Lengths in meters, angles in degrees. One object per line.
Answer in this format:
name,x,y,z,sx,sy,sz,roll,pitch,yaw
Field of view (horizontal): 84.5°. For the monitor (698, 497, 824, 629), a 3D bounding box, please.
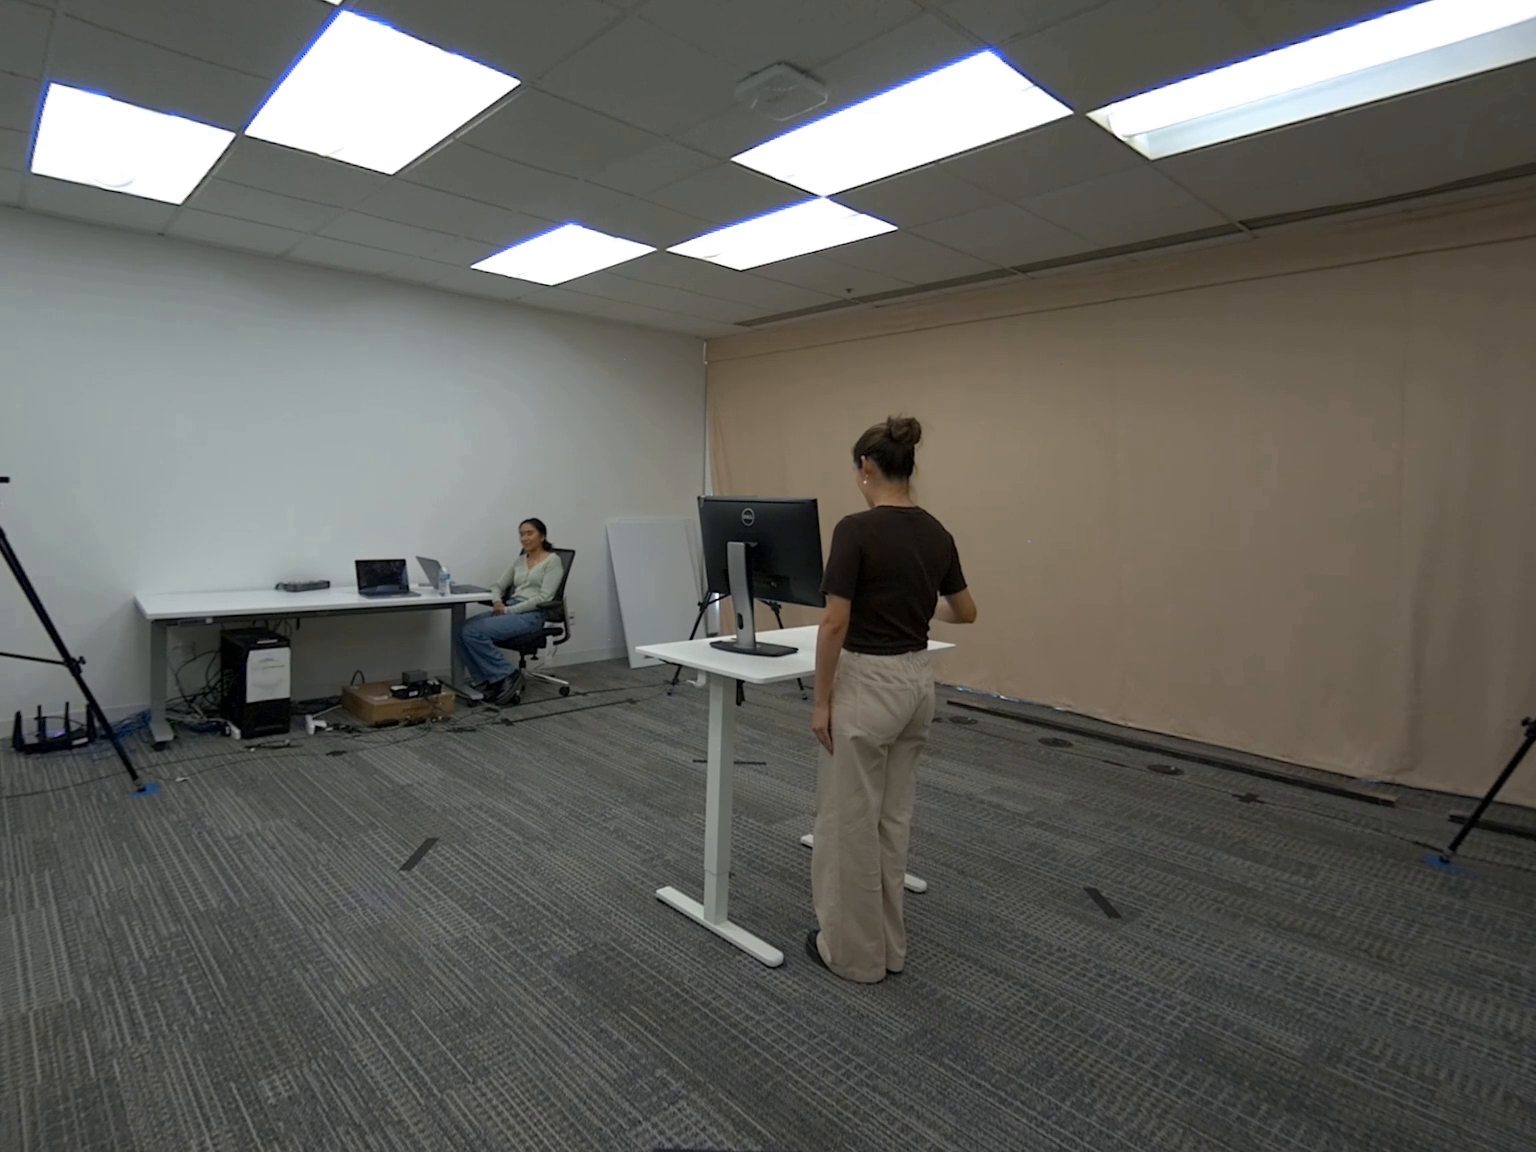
monitor,-0.055,-0.002,2.800,0.553,0.521,0.183,6,4,44
